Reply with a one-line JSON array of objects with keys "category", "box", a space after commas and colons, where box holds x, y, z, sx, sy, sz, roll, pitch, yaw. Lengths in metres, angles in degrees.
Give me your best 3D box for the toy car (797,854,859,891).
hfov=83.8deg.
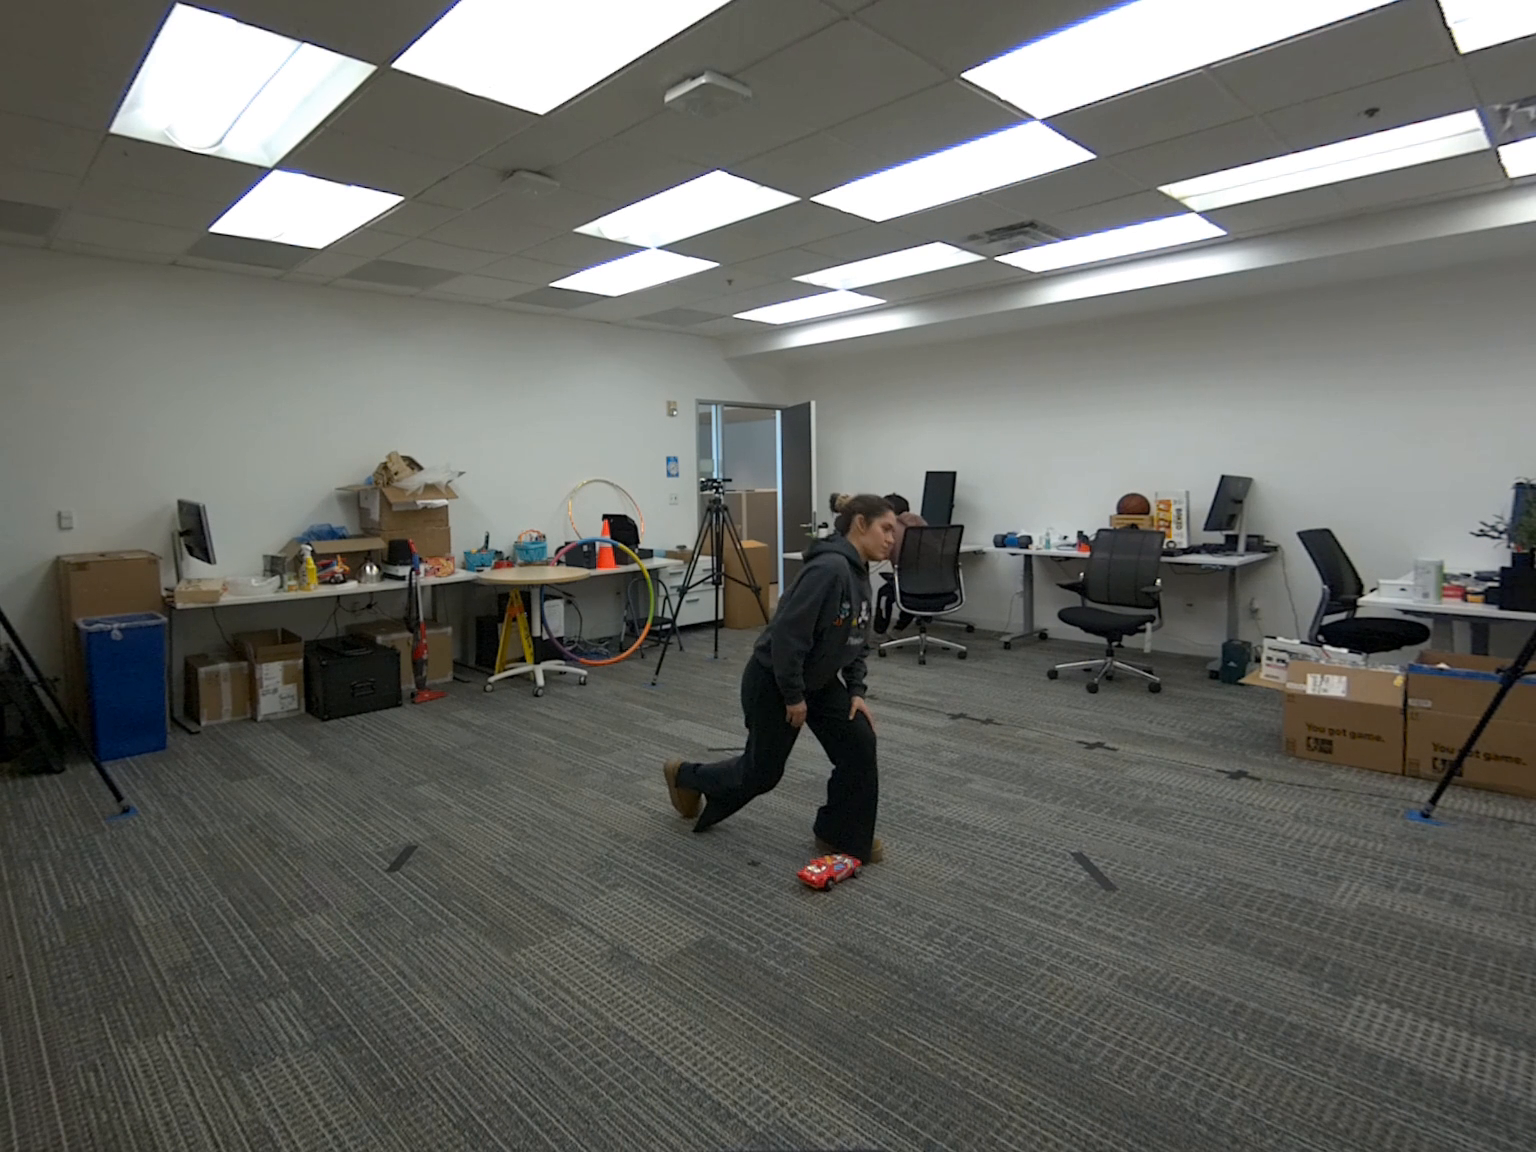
[{"category": "toy car", "box": [0.211, 1.024, 2.948, 0.246, 0.083, 0.134, 9, -3, -41]}]
